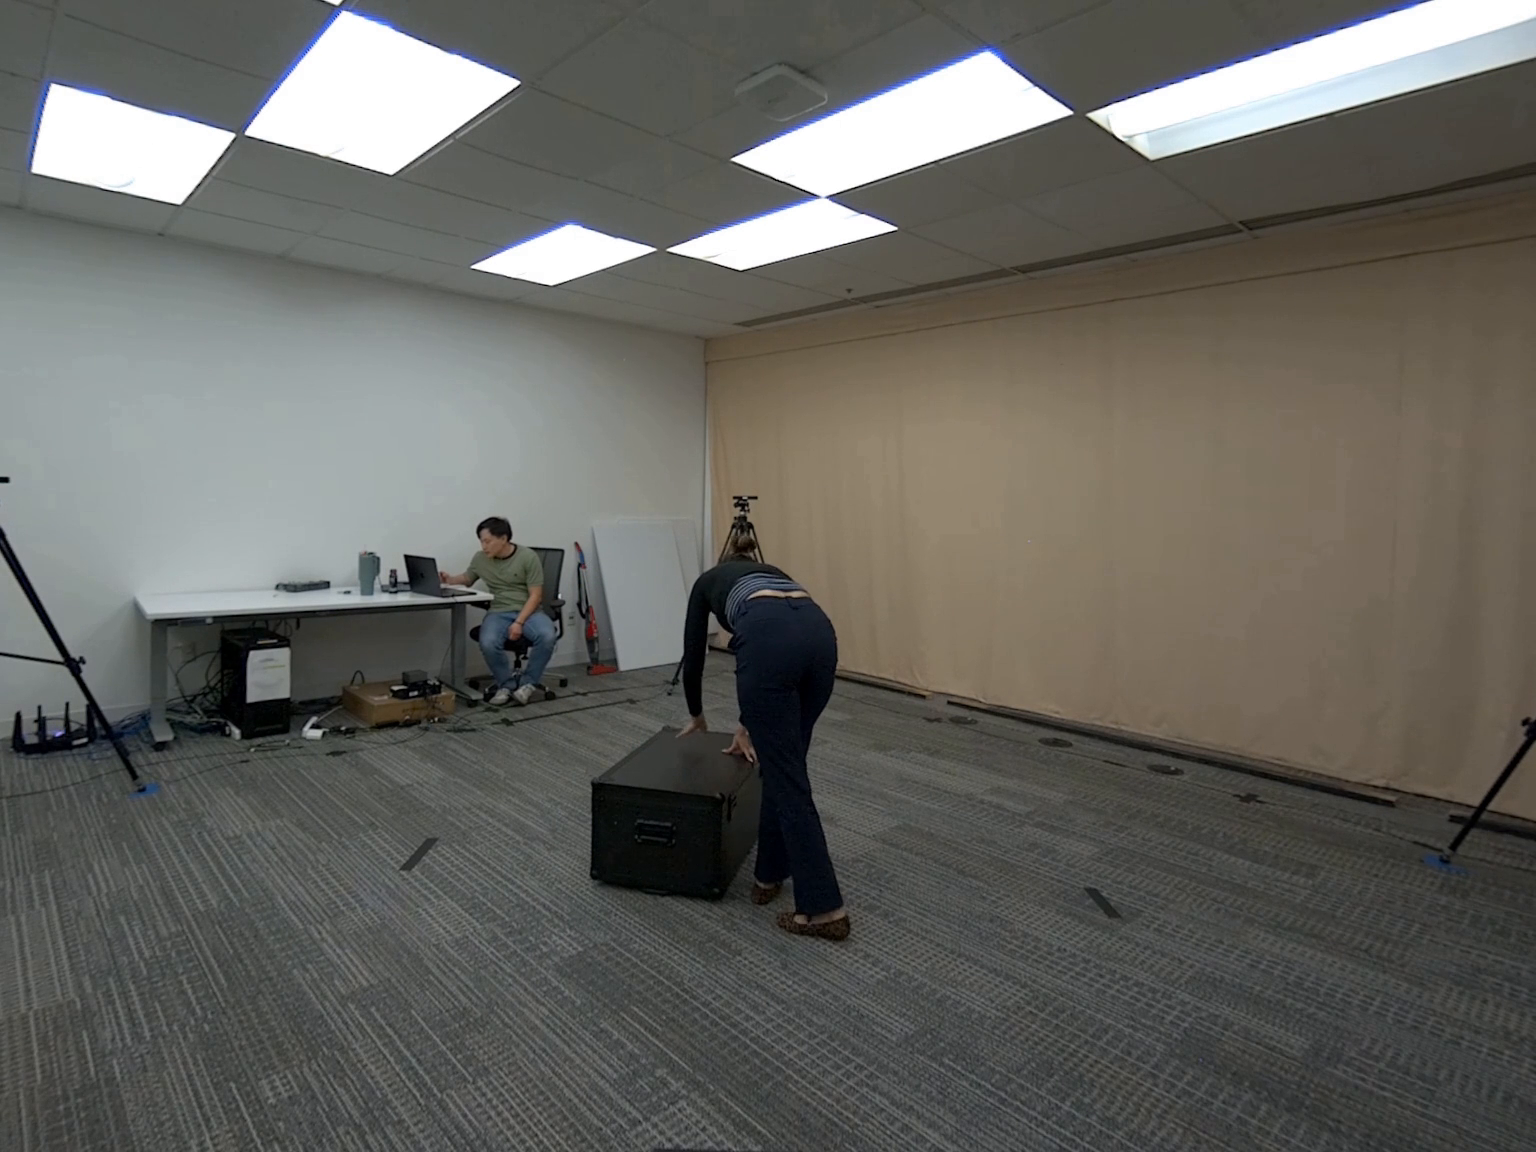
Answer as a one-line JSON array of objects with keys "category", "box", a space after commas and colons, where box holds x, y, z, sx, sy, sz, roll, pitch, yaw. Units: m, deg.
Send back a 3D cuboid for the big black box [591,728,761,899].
[{"category": "big black box", "box": [-0.308, 0.885, 3.327, 0.527, 0.395, 0.854, 3, 6, 13]}]
